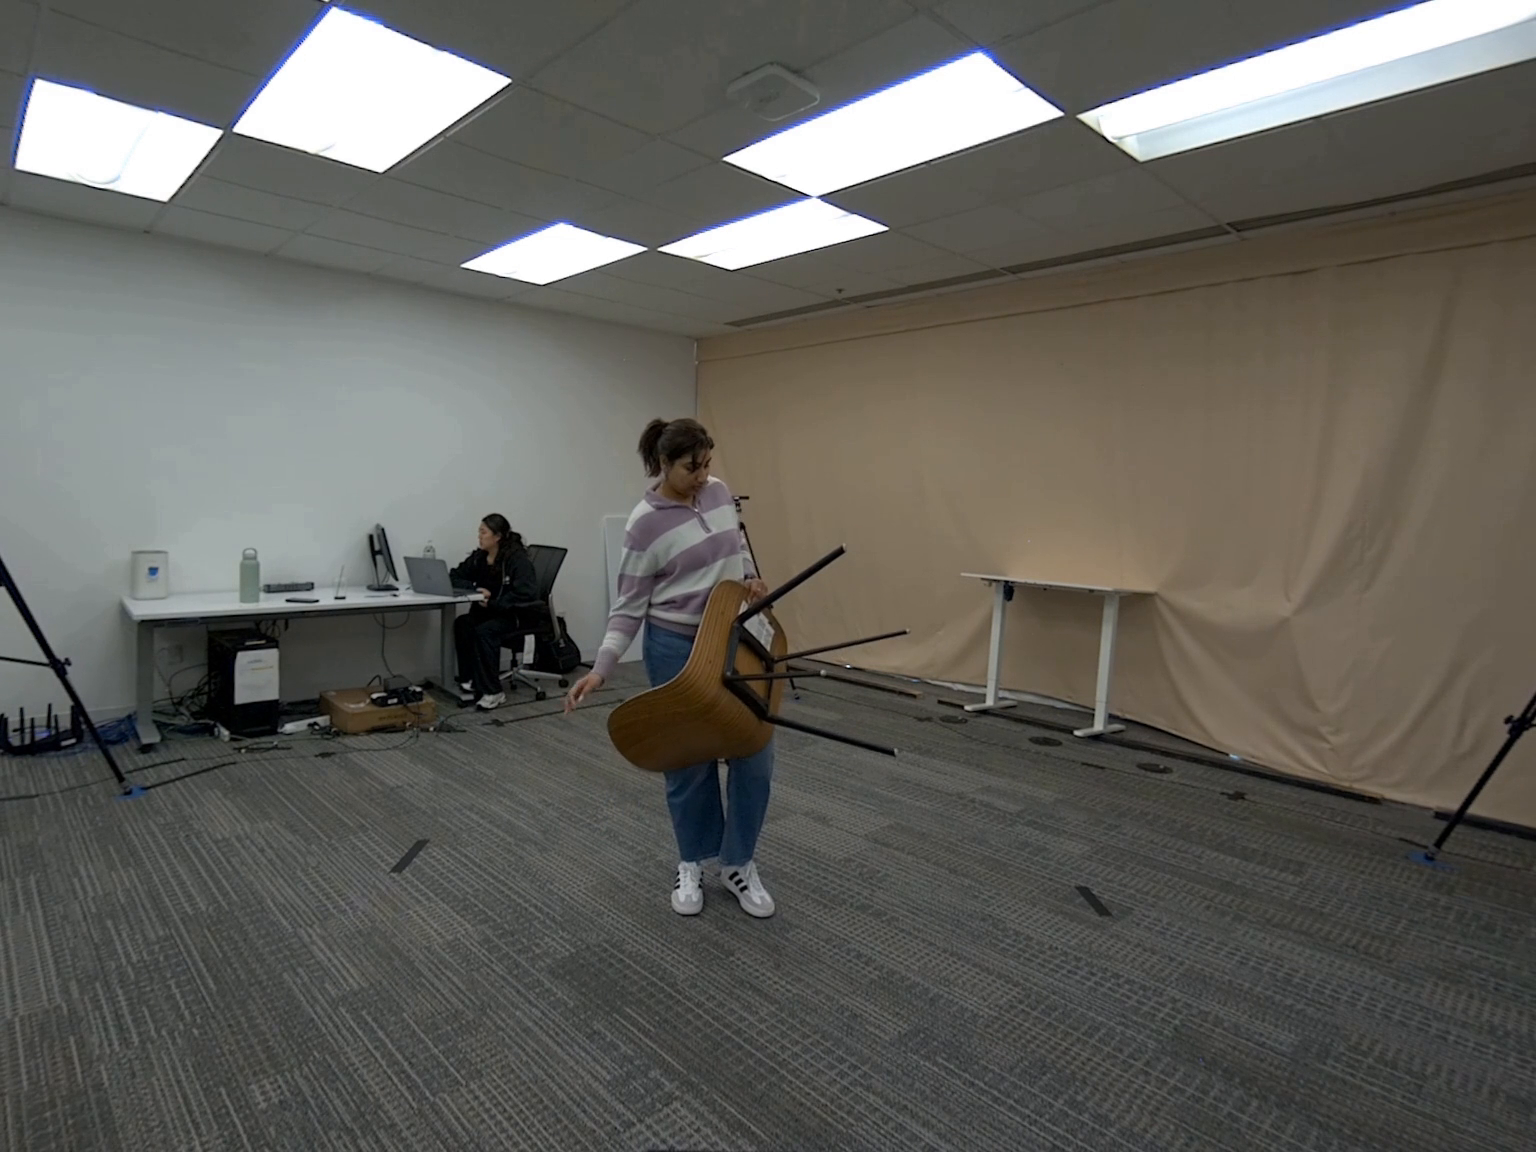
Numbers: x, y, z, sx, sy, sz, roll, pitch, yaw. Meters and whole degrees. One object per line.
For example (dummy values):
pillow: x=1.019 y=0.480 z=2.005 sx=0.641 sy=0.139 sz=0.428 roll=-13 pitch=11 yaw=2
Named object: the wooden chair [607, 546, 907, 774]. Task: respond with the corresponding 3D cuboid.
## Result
wooden chair: x=-0.062 y=0.306 z=2.696 sx=0.889 sy=0.532 sz=0.464 roll=-19 pitch=-49 yaw=30
